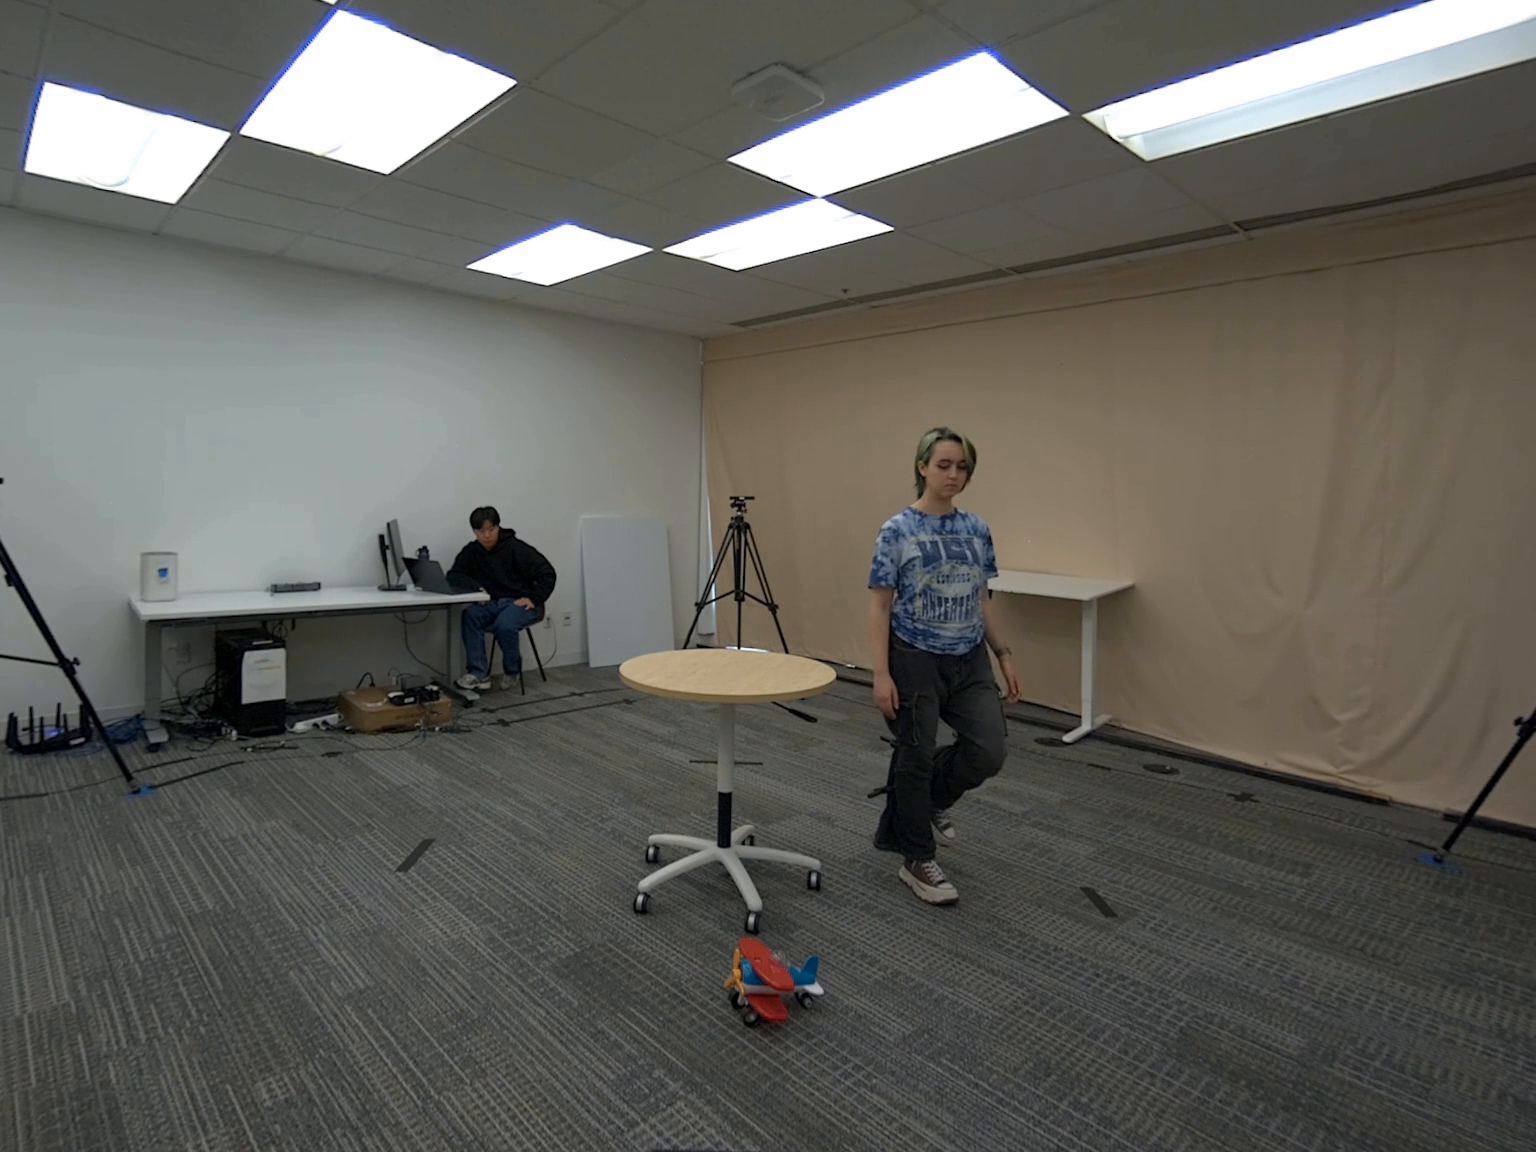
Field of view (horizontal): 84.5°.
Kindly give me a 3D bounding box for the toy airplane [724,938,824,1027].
[{"bbox_3d":[0.002,1.108,2.302,0.257,0.156,0.254,6,8,38],"label":"toy airplane"}]
